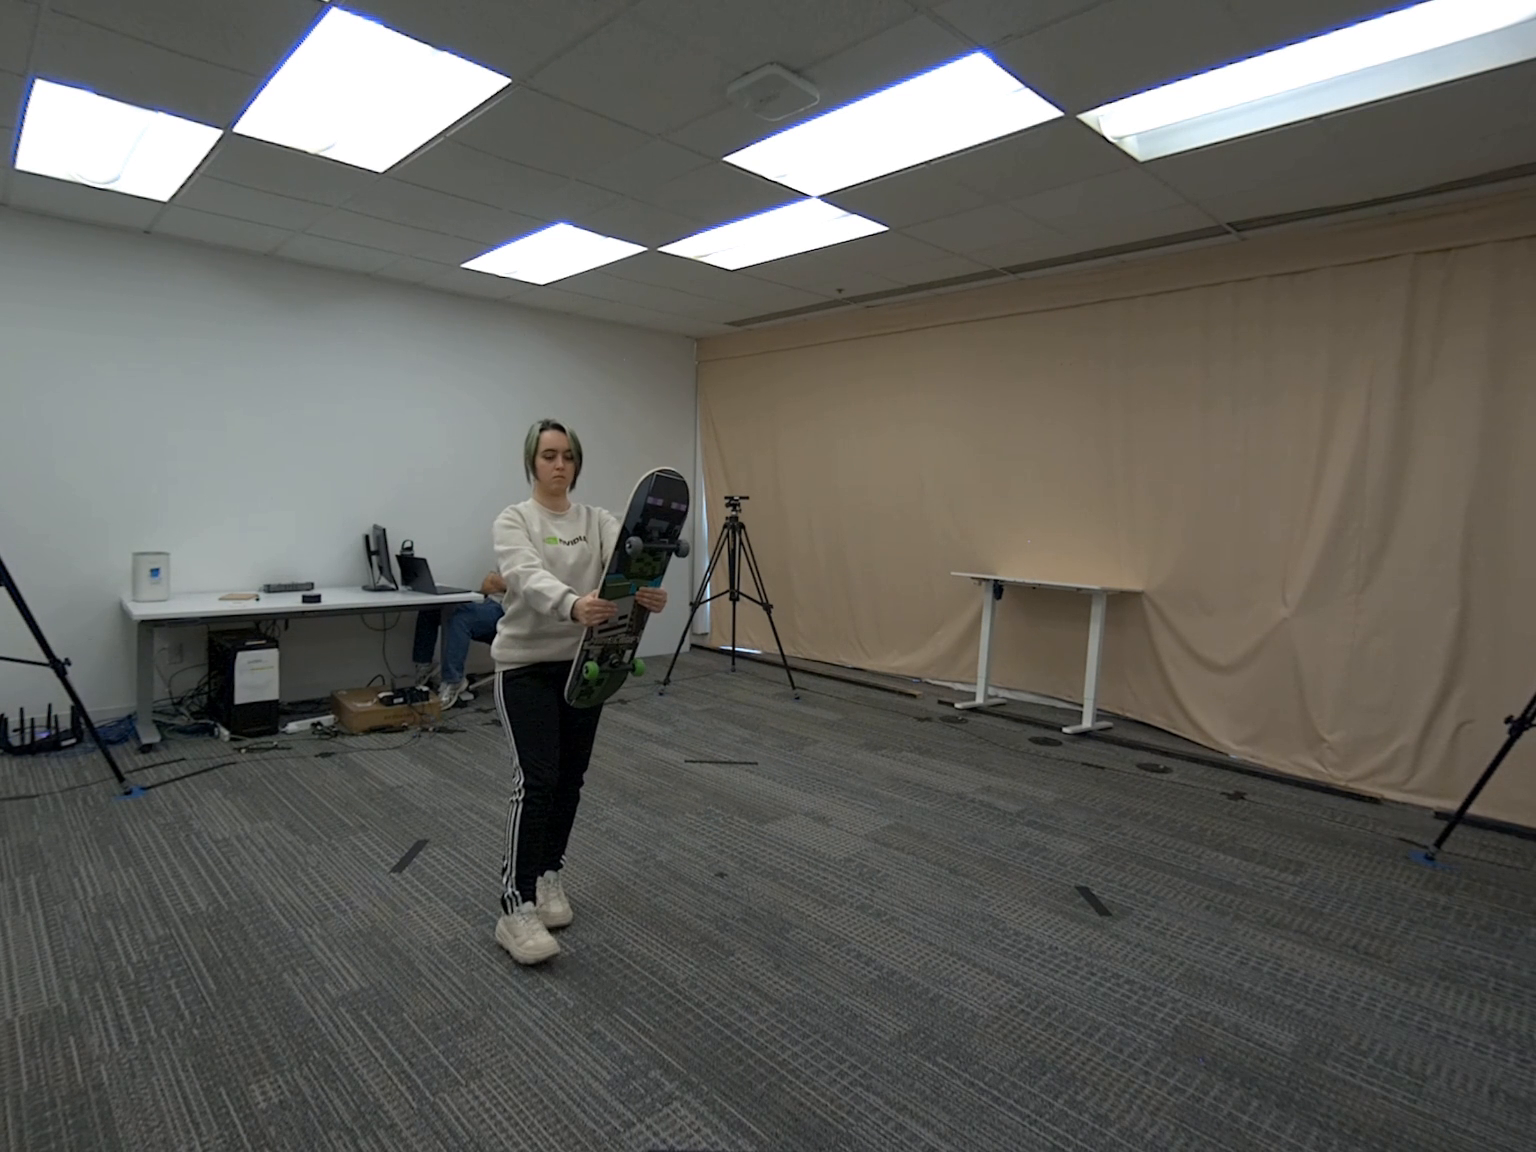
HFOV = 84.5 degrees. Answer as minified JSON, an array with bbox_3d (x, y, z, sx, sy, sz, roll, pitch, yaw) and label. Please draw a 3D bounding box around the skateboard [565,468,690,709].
[{"bbox_3d":[-0.385,0.081,2.320,0.189,0.779,0.114,3,28,-42],"label":"skateboard"}]
